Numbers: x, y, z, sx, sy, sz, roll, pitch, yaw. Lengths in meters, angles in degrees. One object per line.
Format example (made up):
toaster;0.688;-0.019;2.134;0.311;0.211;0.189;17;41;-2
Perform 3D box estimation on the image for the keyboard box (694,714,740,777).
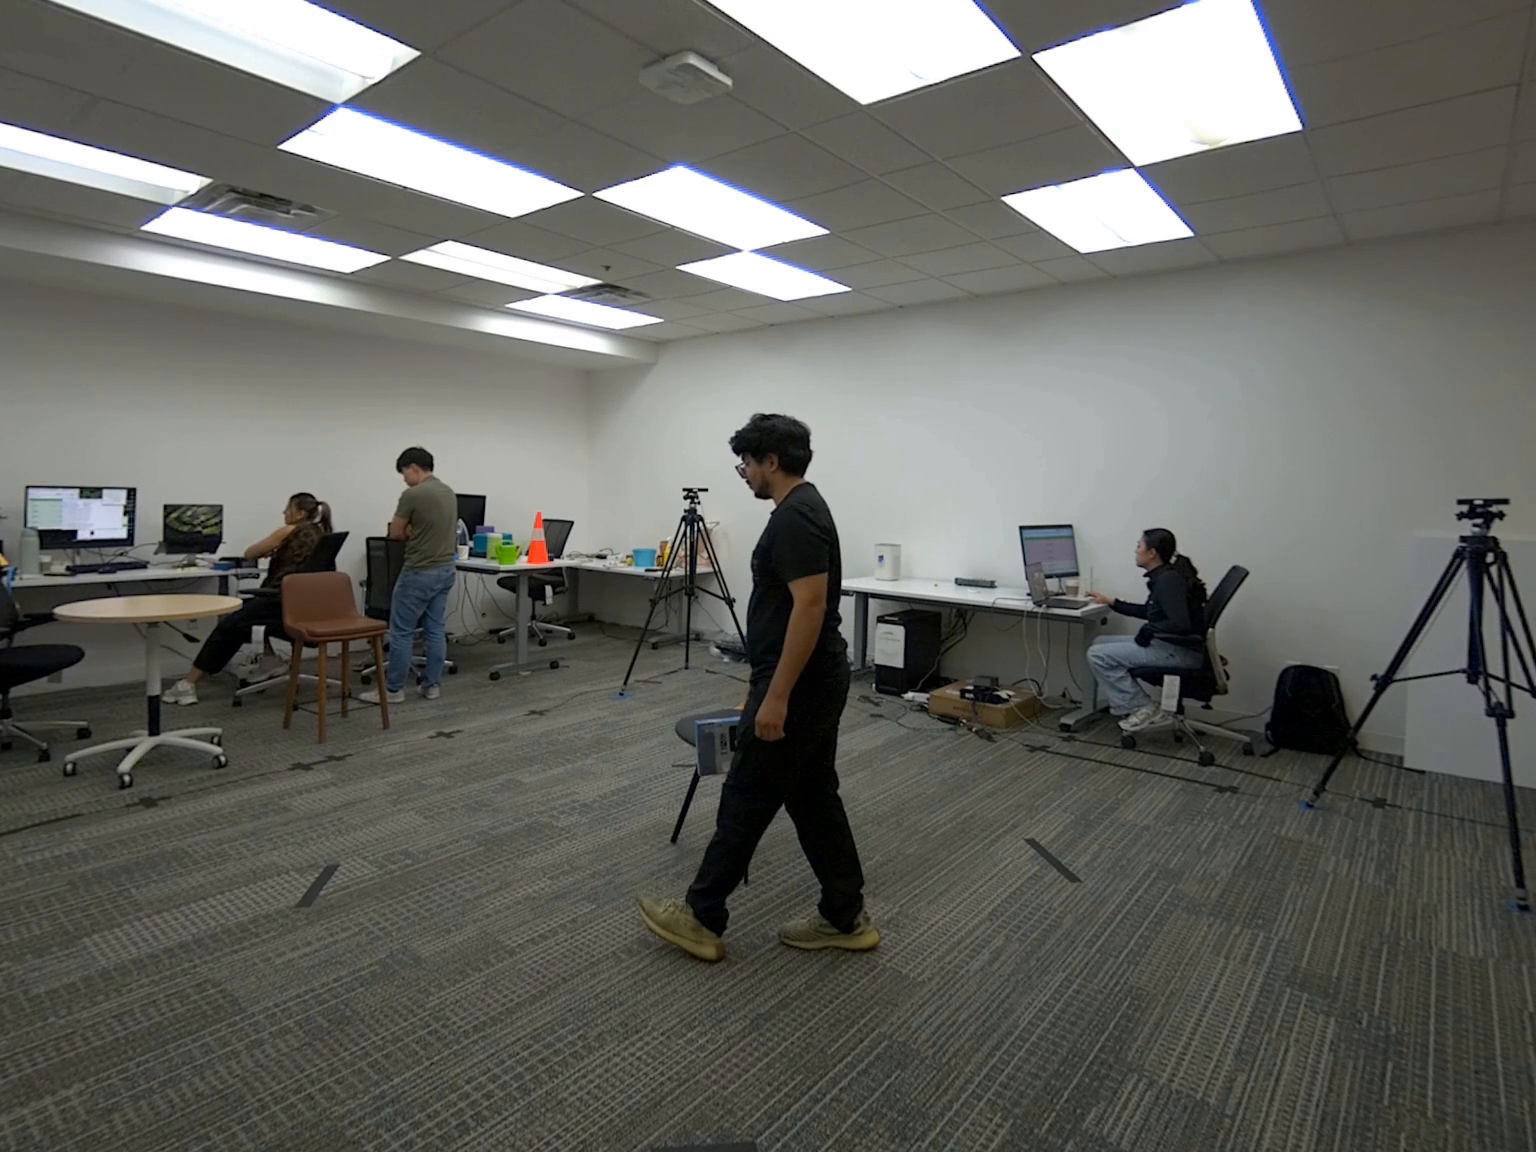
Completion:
keyboard box;-0.025;0.545;2.829;0.433;0.176;0.059;-2;-1;-9
